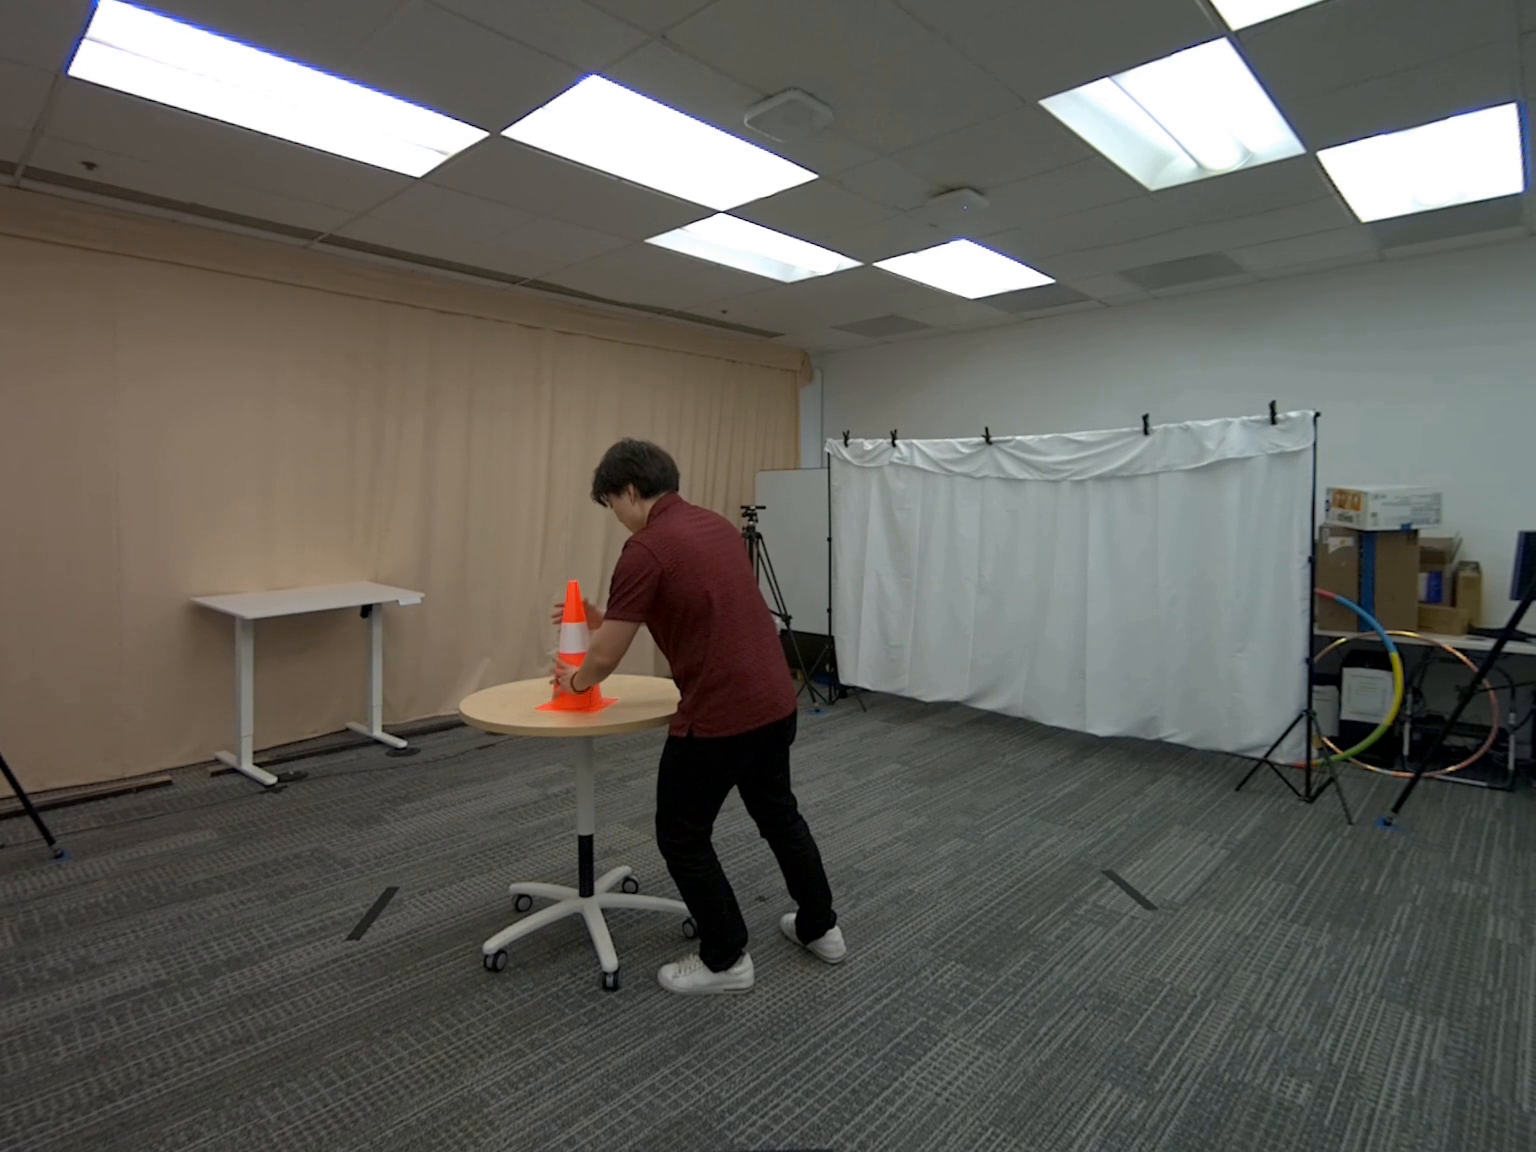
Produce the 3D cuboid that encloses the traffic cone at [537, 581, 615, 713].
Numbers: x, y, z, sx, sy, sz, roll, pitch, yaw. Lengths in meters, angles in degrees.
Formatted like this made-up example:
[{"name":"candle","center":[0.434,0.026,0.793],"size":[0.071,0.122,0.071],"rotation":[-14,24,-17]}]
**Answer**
[{"name":"traffic cone","center":[-0.595,0.210,2.576],"size":[0.207,0.383,0.202],"rotation":[-1,2,8]}]
